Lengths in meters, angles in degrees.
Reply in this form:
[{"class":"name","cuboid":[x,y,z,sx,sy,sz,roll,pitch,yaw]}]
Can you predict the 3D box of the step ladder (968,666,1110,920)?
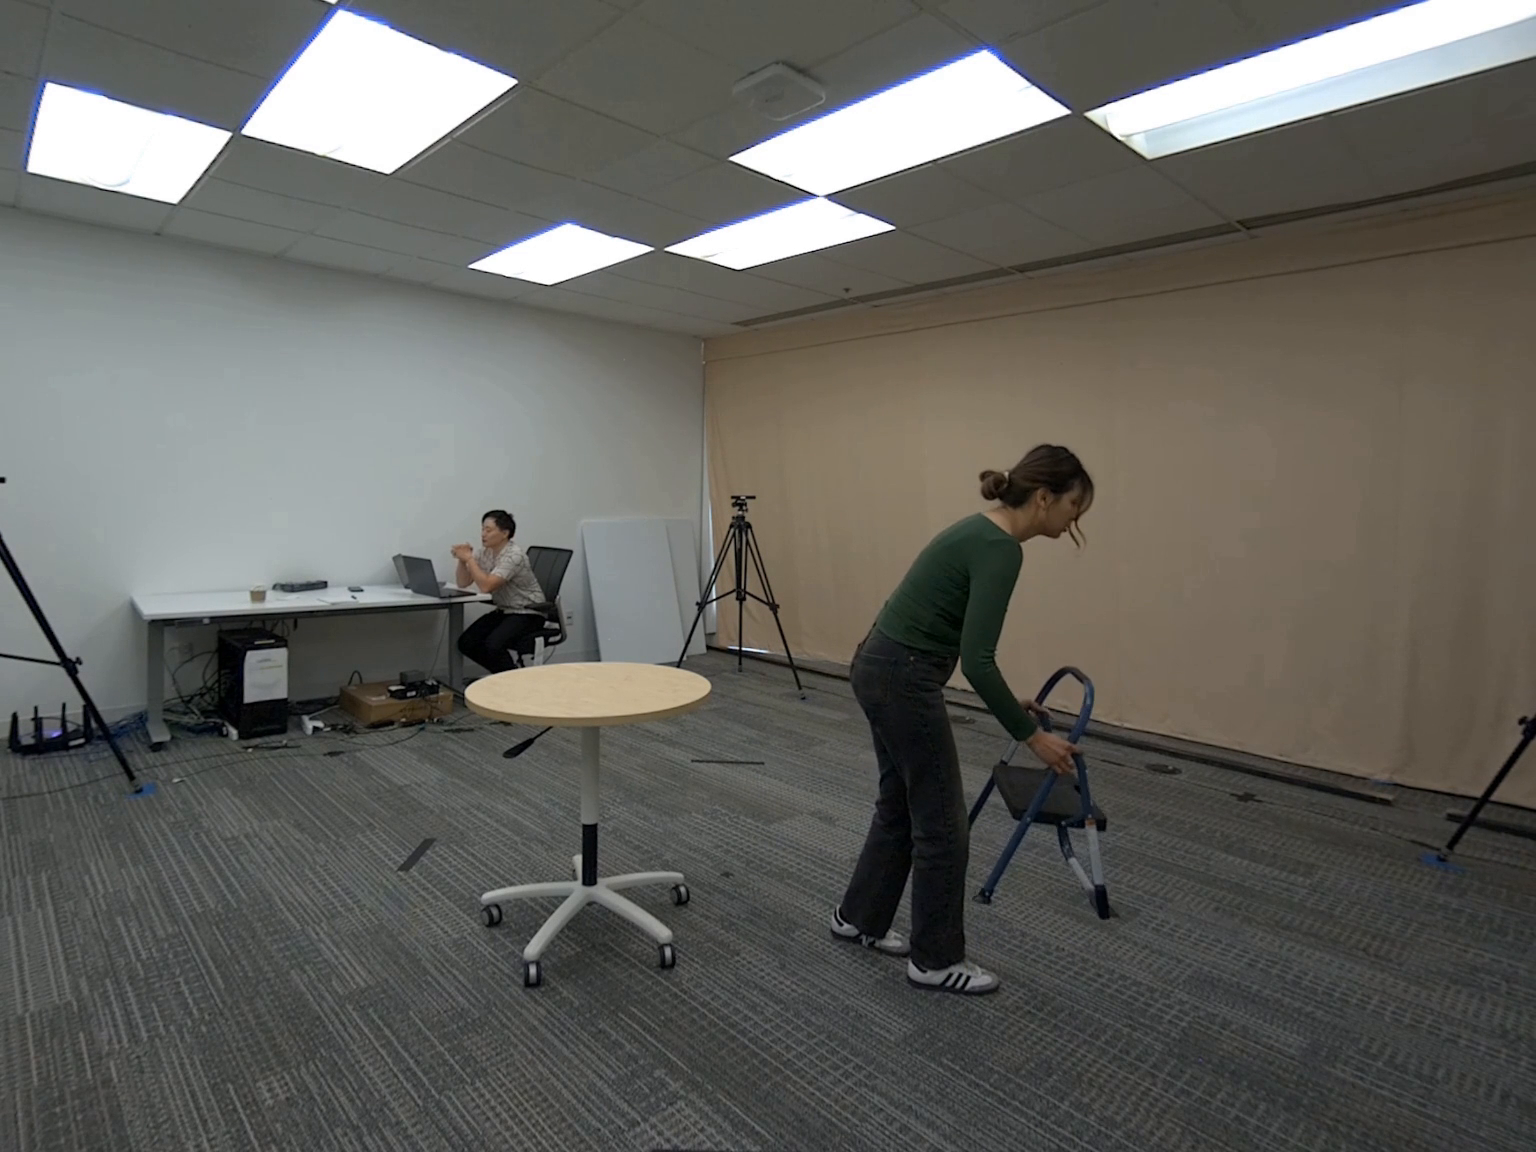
[{"class":"step ladder","cuboid":[0.765,0.567,2.385,0.351,0.603,0.430,5,6,5]}]
